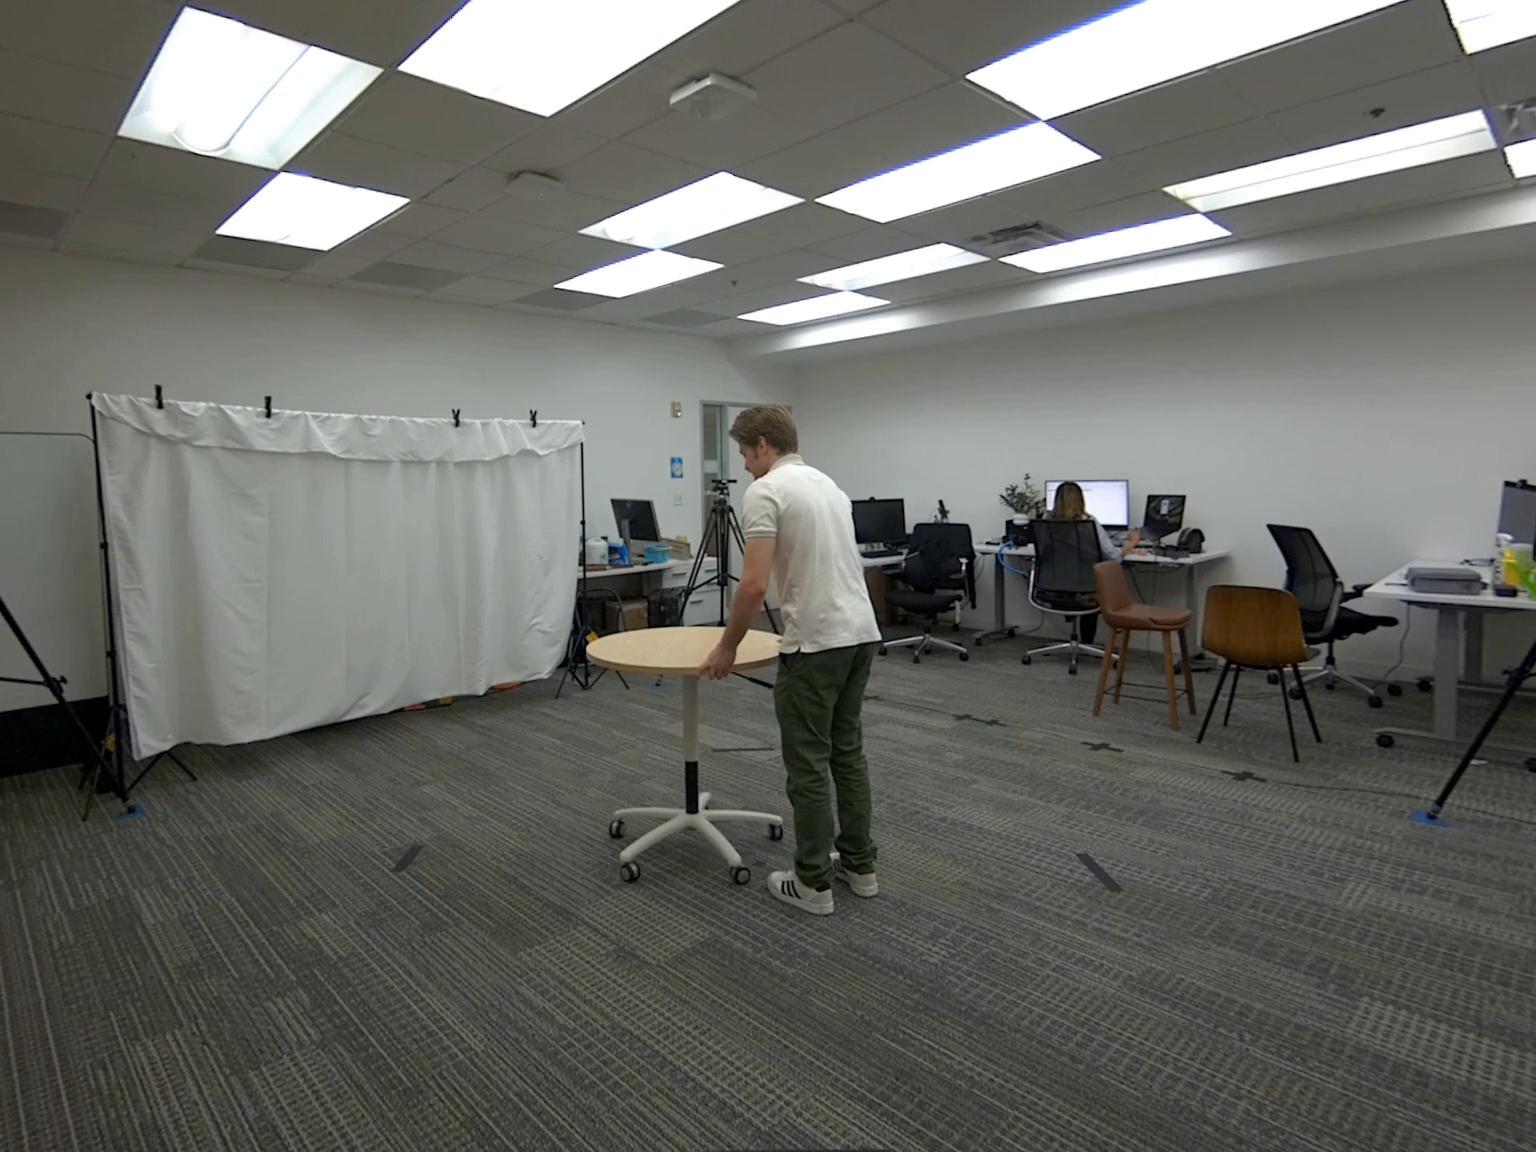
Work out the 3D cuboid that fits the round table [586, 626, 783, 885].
[{"bbox_3d":[-0.294,0.647,3.231,0.763,0.791,0.768,0,5,-2],"label":"round table"}]
